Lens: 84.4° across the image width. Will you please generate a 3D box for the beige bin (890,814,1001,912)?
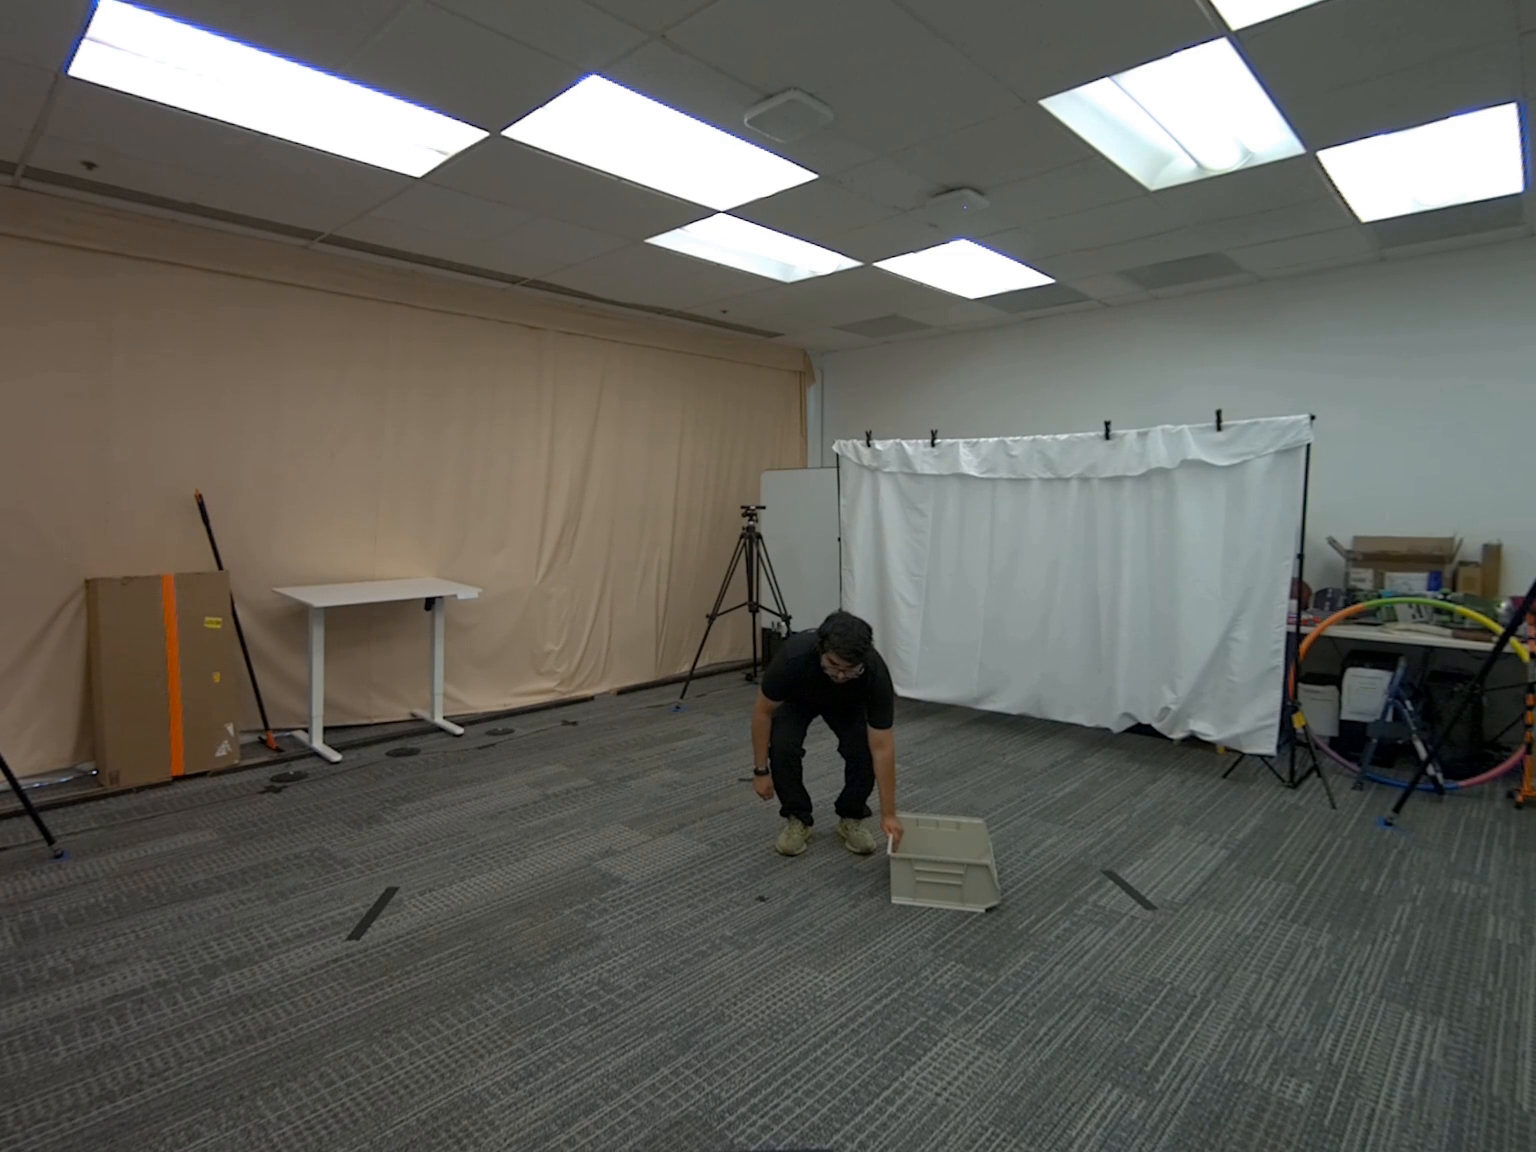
[{"bbox_3d":[0.650,1.044,3.099,0.383,0.188,0.418,-1,5,12],"label":"beige bin"}]
